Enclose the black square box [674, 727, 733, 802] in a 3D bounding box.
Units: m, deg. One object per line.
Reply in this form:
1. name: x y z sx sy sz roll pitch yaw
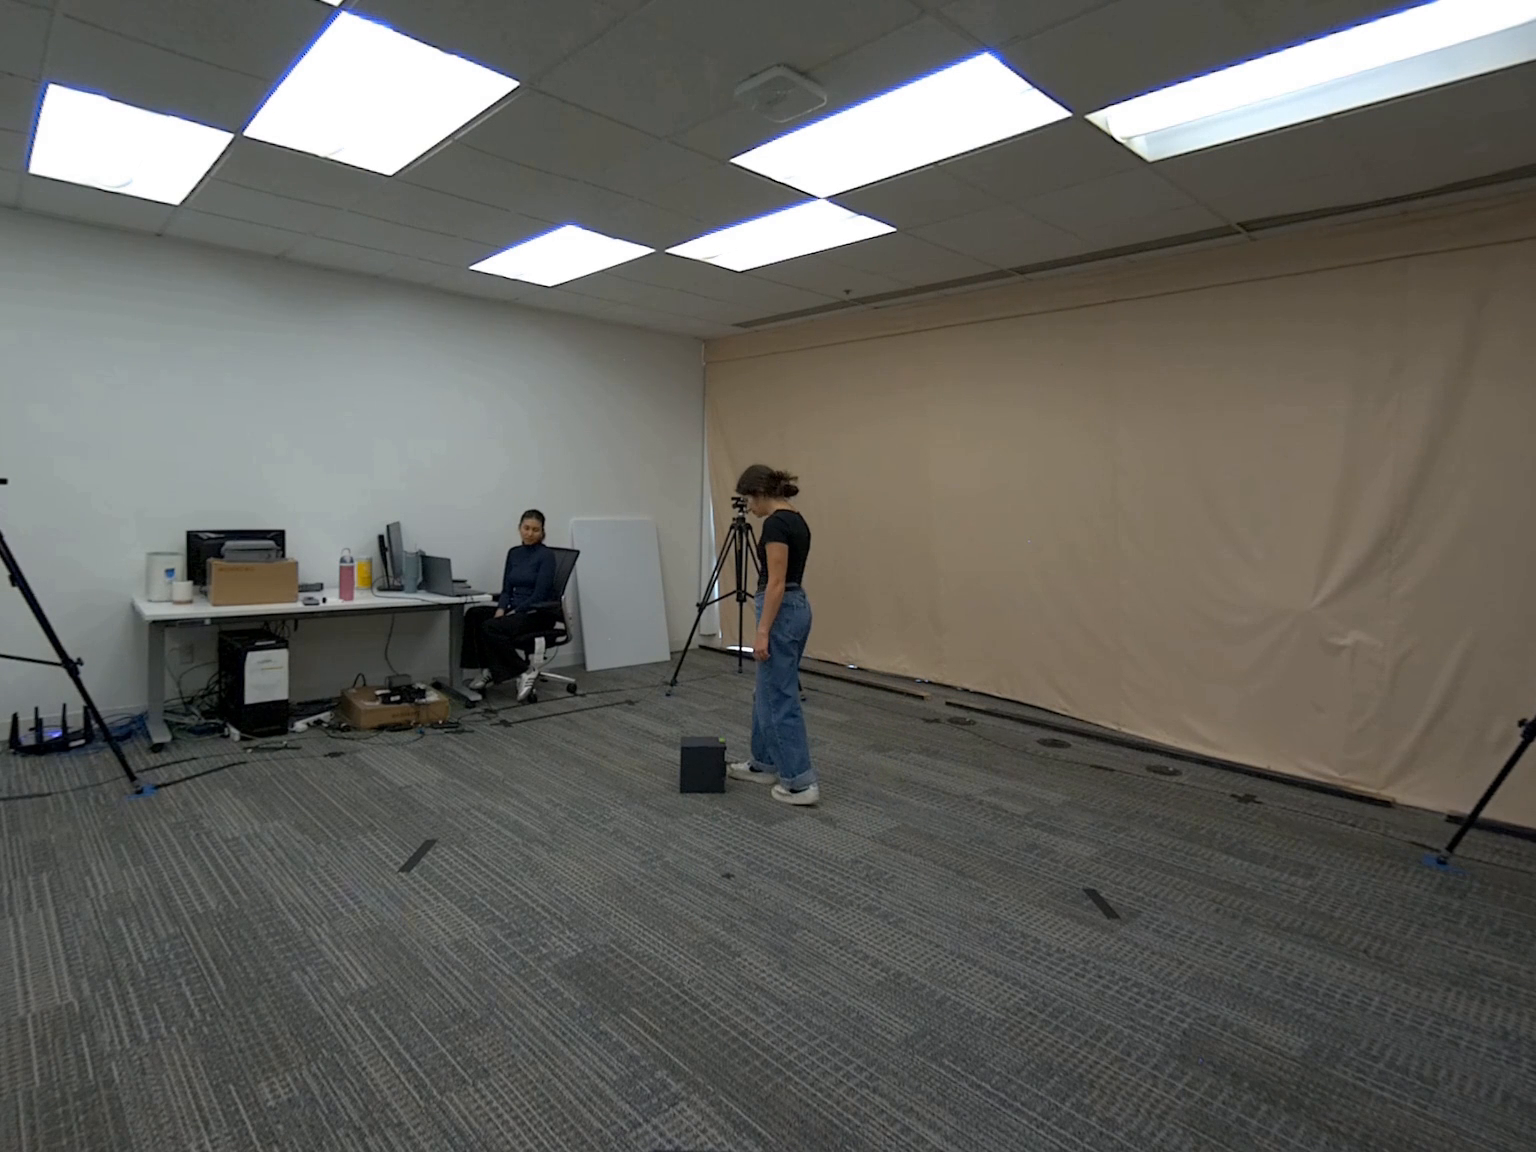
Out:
1. black square box: -0.323 0.898 4.046 0.216 0.227 0.157 2 4 -5
